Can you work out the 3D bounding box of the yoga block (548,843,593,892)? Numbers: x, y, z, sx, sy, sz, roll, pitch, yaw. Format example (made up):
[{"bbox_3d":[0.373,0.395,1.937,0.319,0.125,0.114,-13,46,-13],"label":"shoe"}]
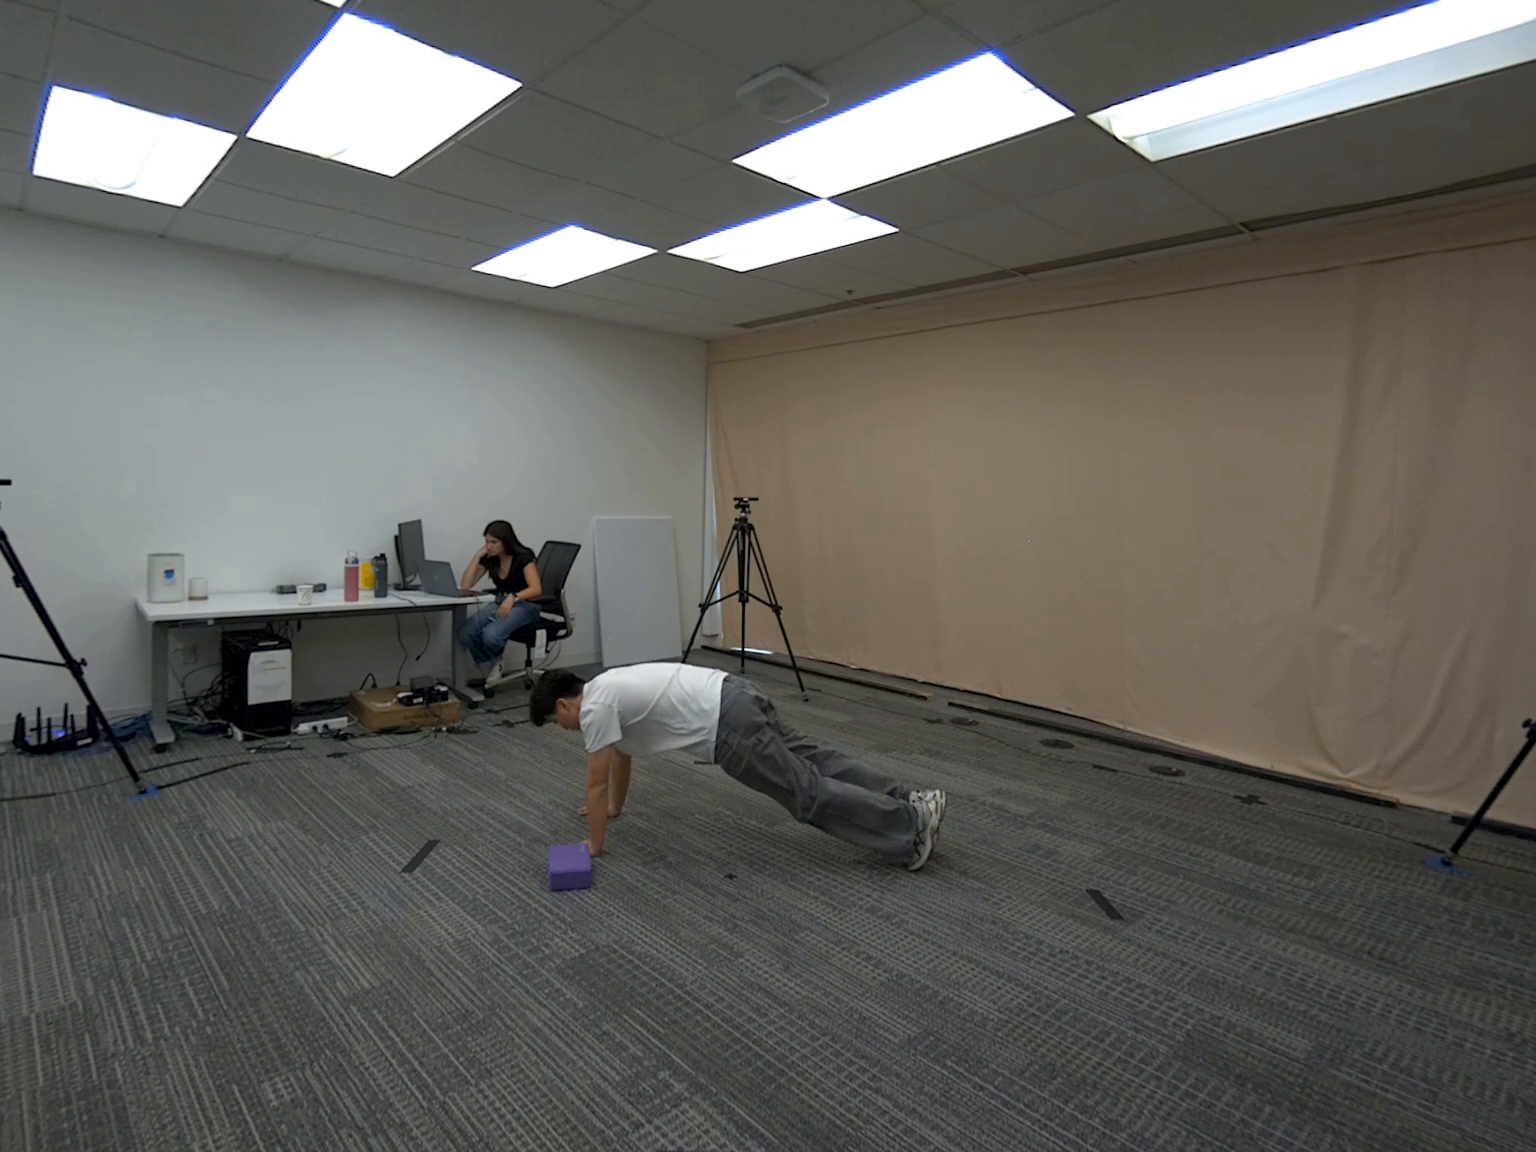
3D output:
[{"bbox_3d":[-0.735,1.064,3.063,0.147,0.076,0.233,1,6,-15],"label":"yoga block"}]
